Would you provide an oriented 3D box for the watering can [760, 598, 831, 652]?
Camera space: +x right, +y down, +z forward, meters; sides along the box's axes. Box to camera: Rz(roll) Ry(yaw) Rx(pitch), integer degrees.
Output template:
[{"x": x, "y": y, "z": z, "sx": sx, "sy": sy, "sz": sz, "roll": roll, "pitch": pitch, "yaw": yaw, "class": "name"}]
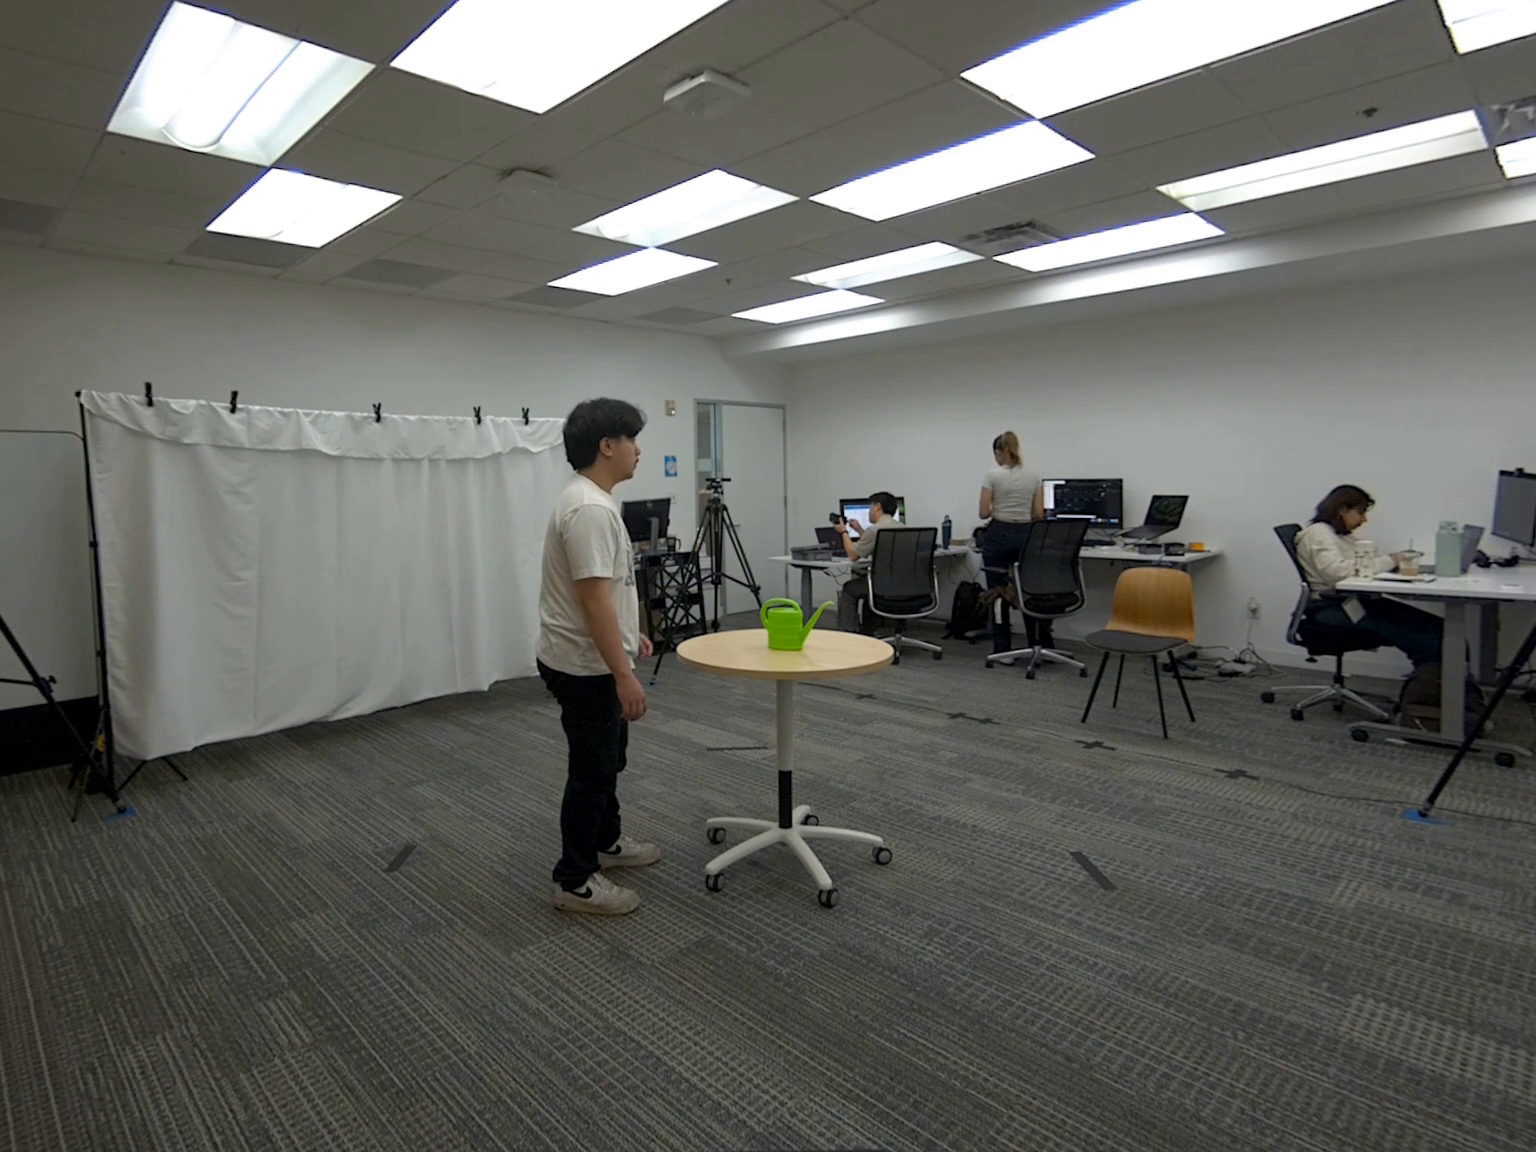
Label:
[{"x": 0.096, "y": 0.170, "z": 2.997, "sx": 0.287, "sy": 0.176, "sz": 0.095, "roll": 3, "pitch": 6, "yaw": 43, "class": "watering can"}]
